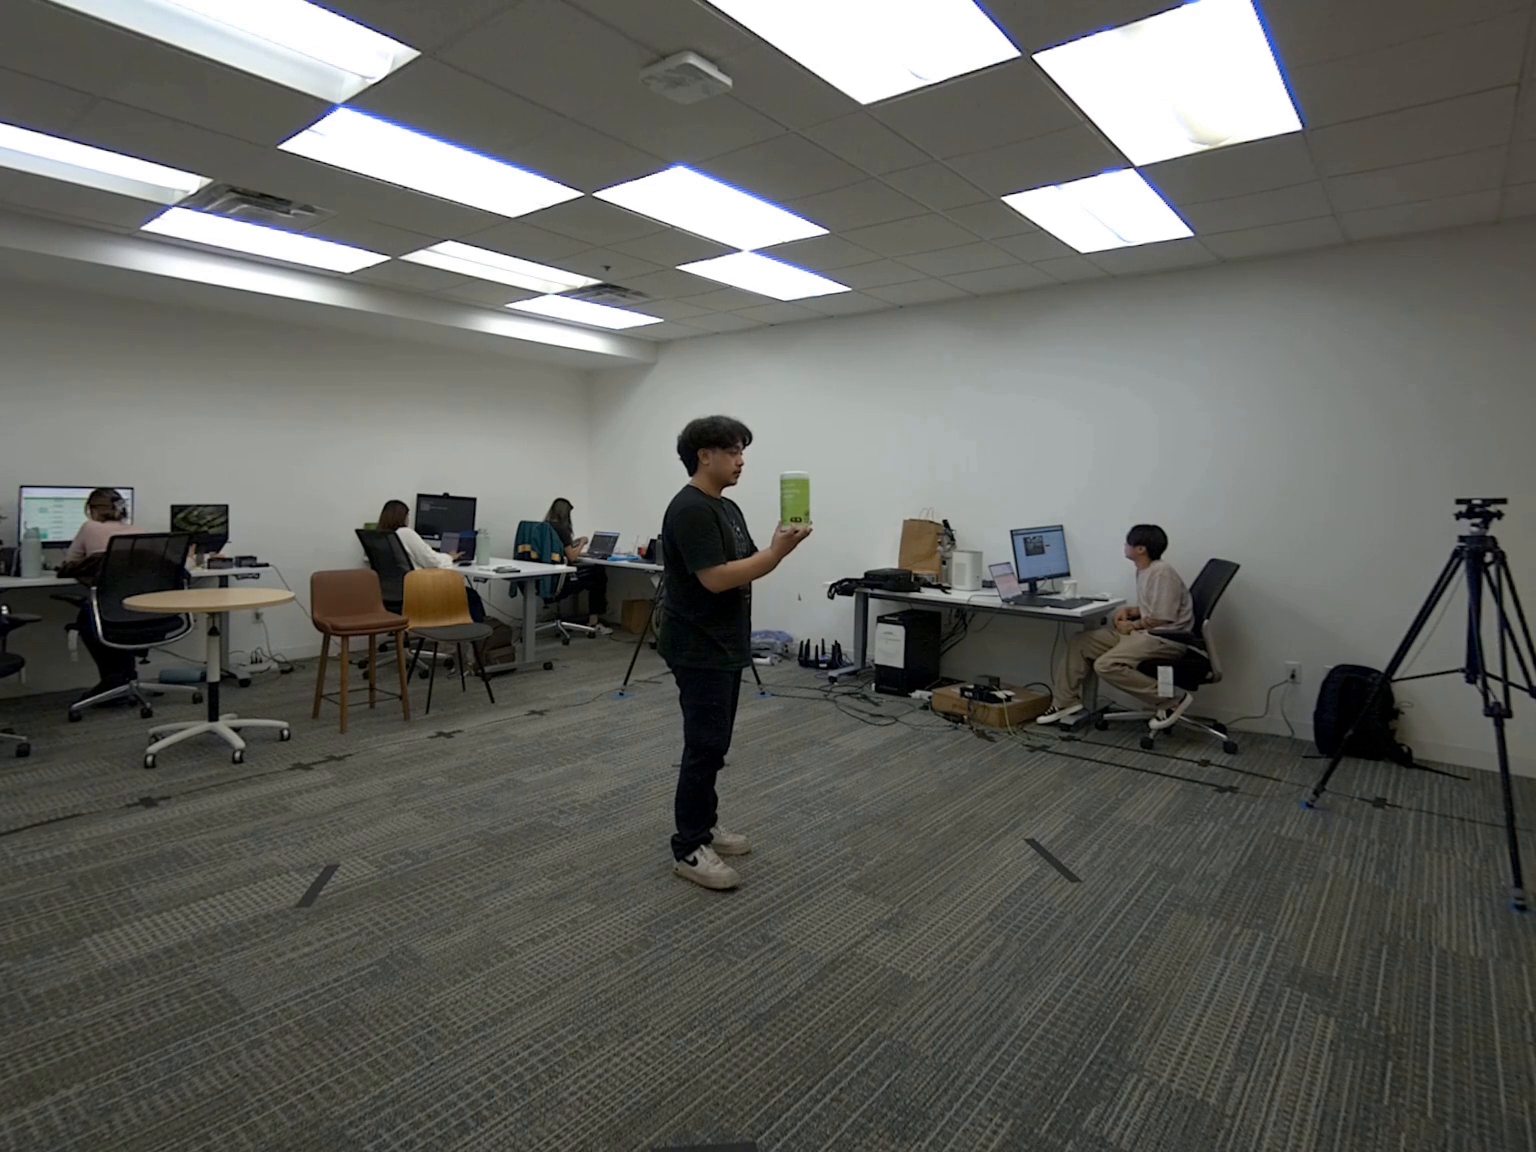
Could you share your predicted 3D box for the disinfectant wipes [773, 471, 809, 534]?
[{"bbox_3d":[0.082,-0.269,3.088,0.118,0.218,0.117,0,-2,-2],"label":"disinfectant wipes"}]
